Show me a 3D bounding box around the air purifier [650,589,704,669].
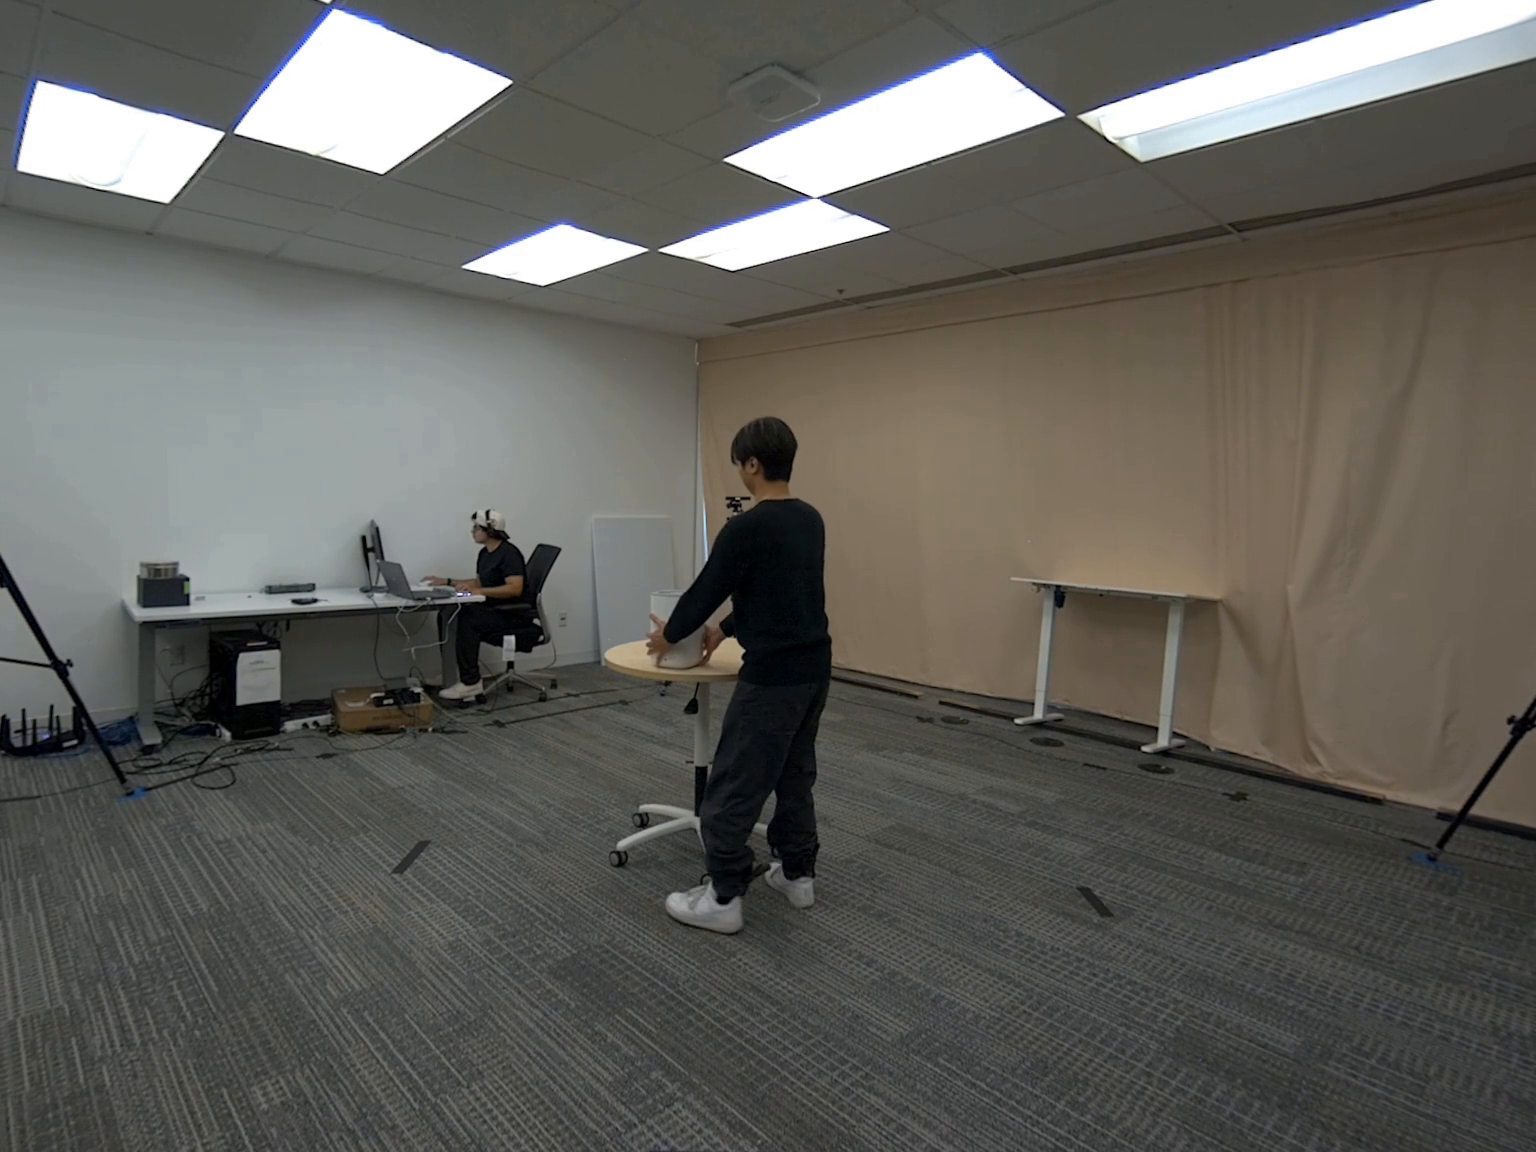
[{"bbox_3d":[-0.335,0.193,3.060,0.174,0.264,0.169,3,5,18],"label":"air purifier"}]
